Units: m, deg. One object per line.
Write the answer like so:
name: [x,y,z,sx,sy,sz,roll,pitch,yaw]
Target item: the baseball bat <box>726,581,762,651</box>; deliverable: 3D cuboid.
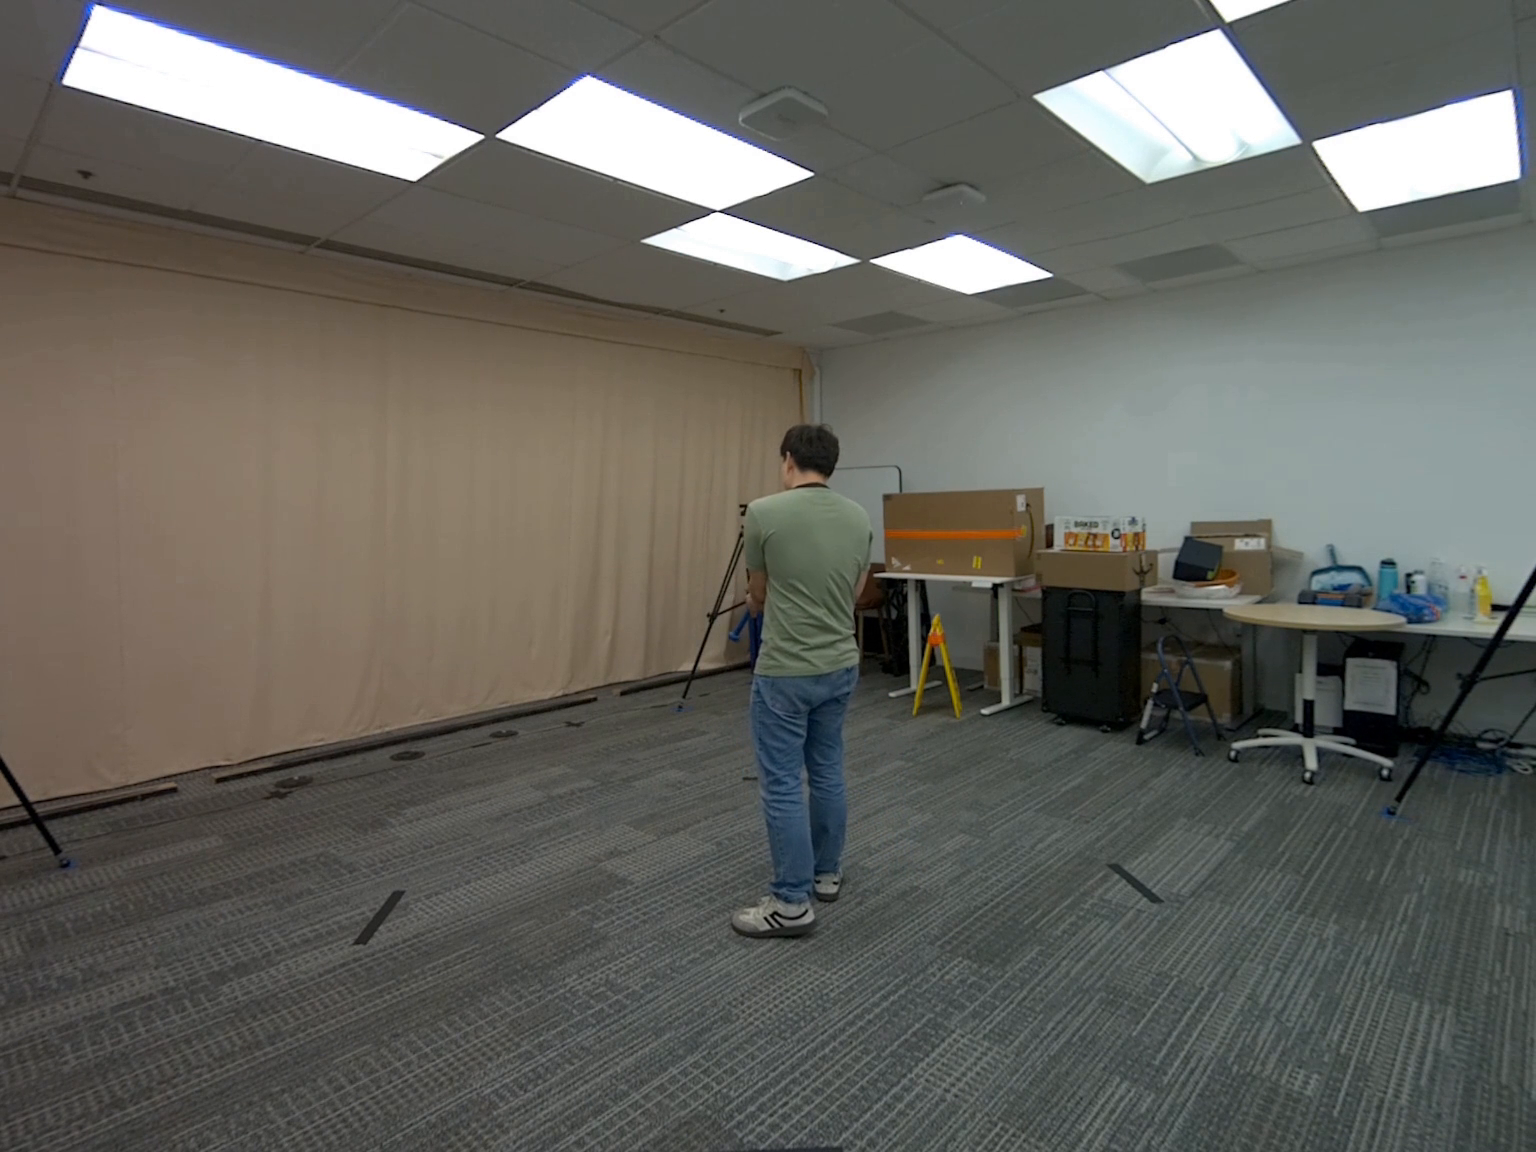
baseball bat: [-0.025,0.027,3.222,0.088,0.541,0.090,19,24,-11]
